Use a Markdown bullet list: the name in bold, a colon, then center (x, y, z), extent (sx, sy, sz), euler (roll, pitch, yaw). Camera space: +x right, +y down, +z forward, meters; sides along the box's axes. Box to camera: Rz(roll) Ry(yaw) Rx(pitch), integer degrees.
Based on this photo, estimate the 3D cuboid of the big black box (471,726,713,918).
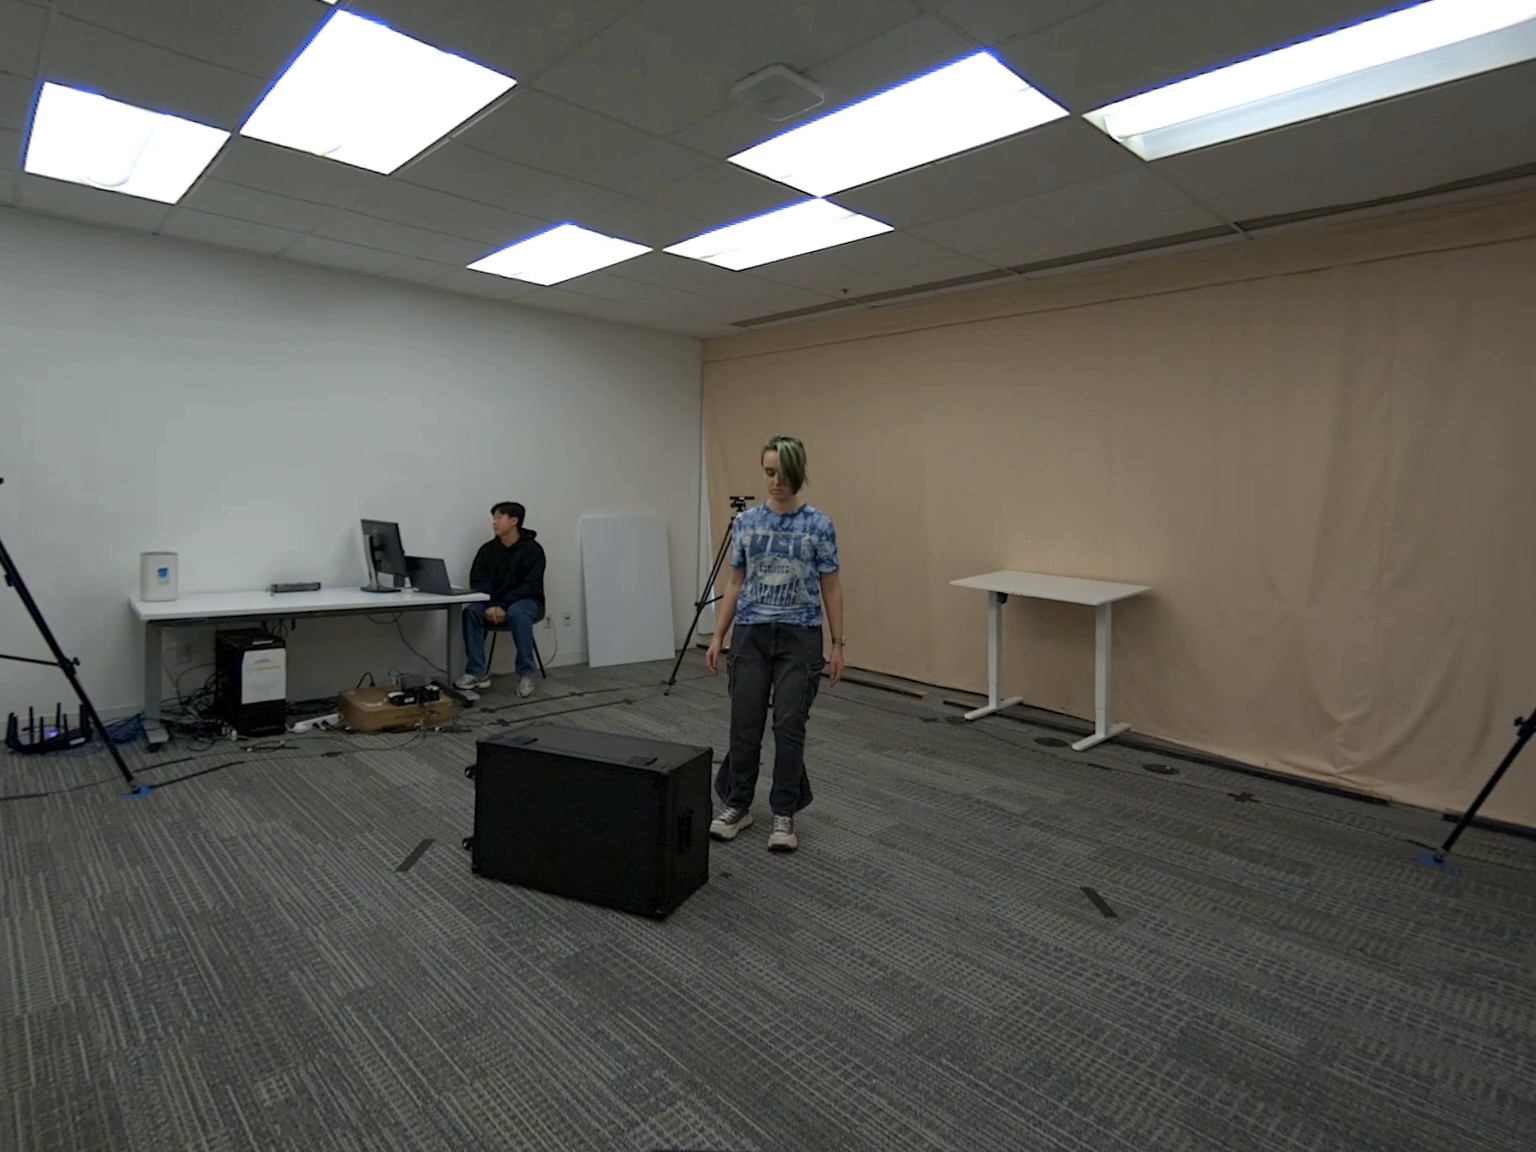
- **big black box**: center (-0.664, 0.840, 3.065), extent (0.877, 0.521, 0.389), euler (4, 2, 23)
